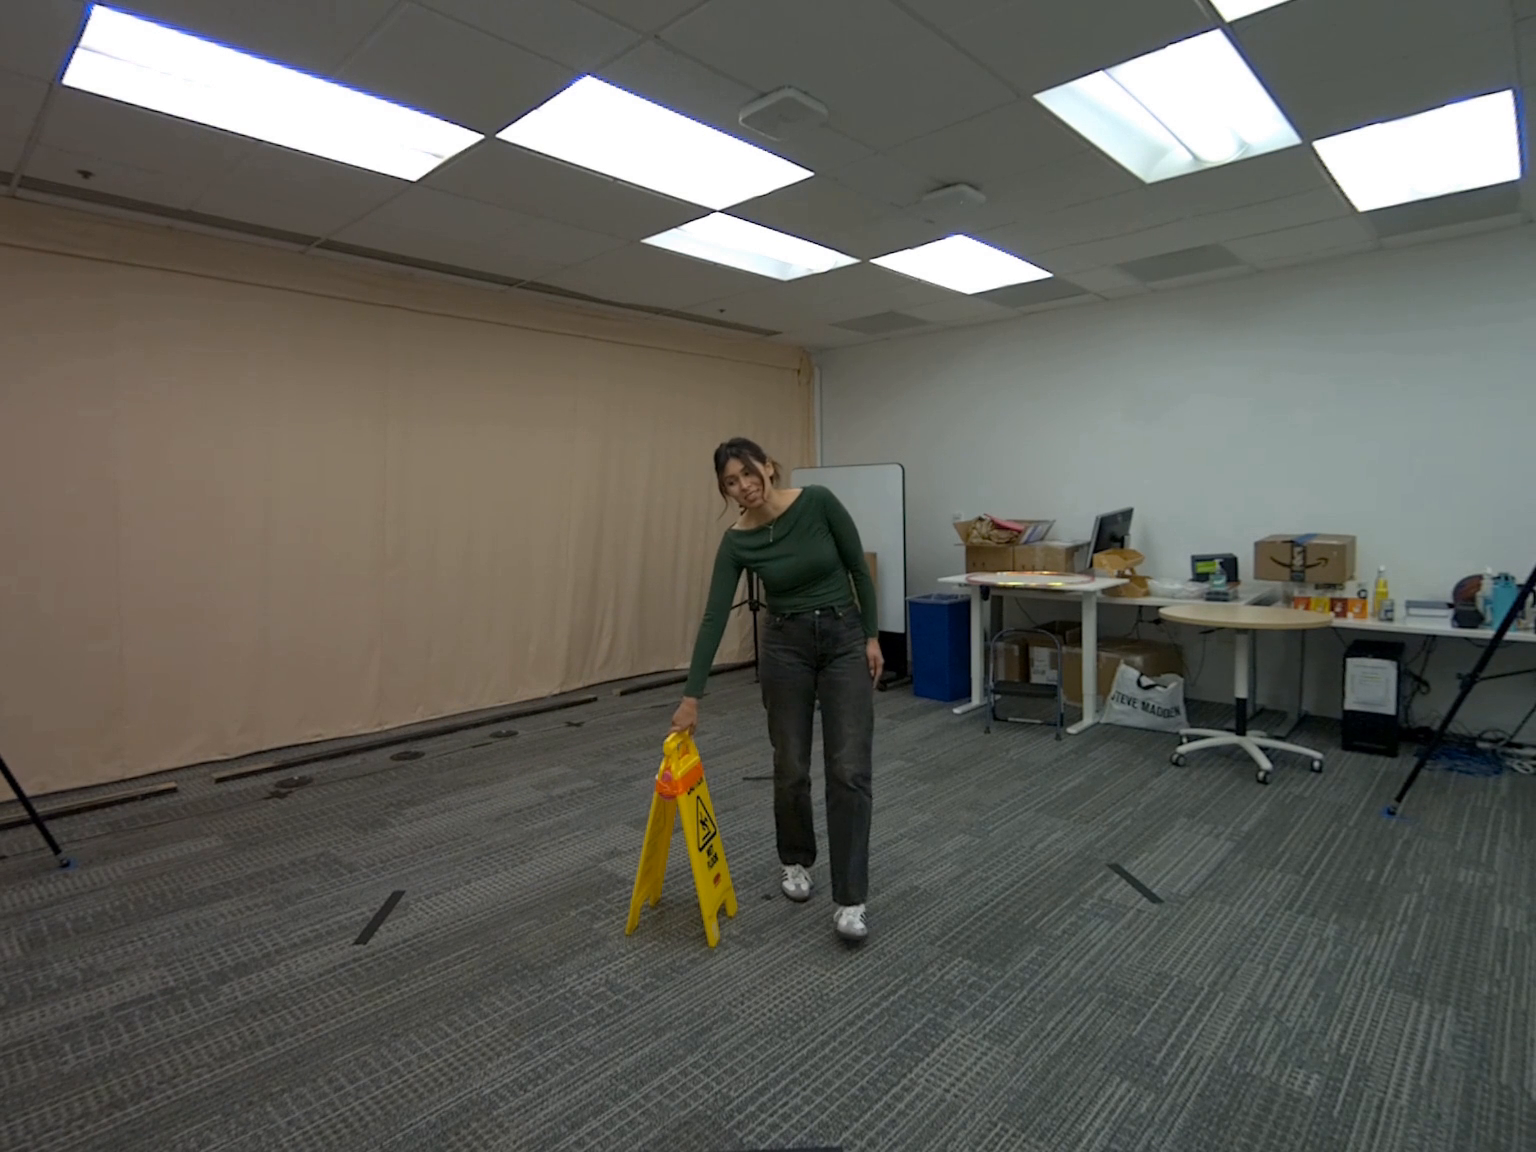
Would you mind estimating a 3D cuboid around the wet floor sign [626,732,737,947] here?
[{"bbox_3d":[-0.286,0.841,2.800,0.295,0.644,0.278,0,5,17],"label":"wet floor sign"}]
